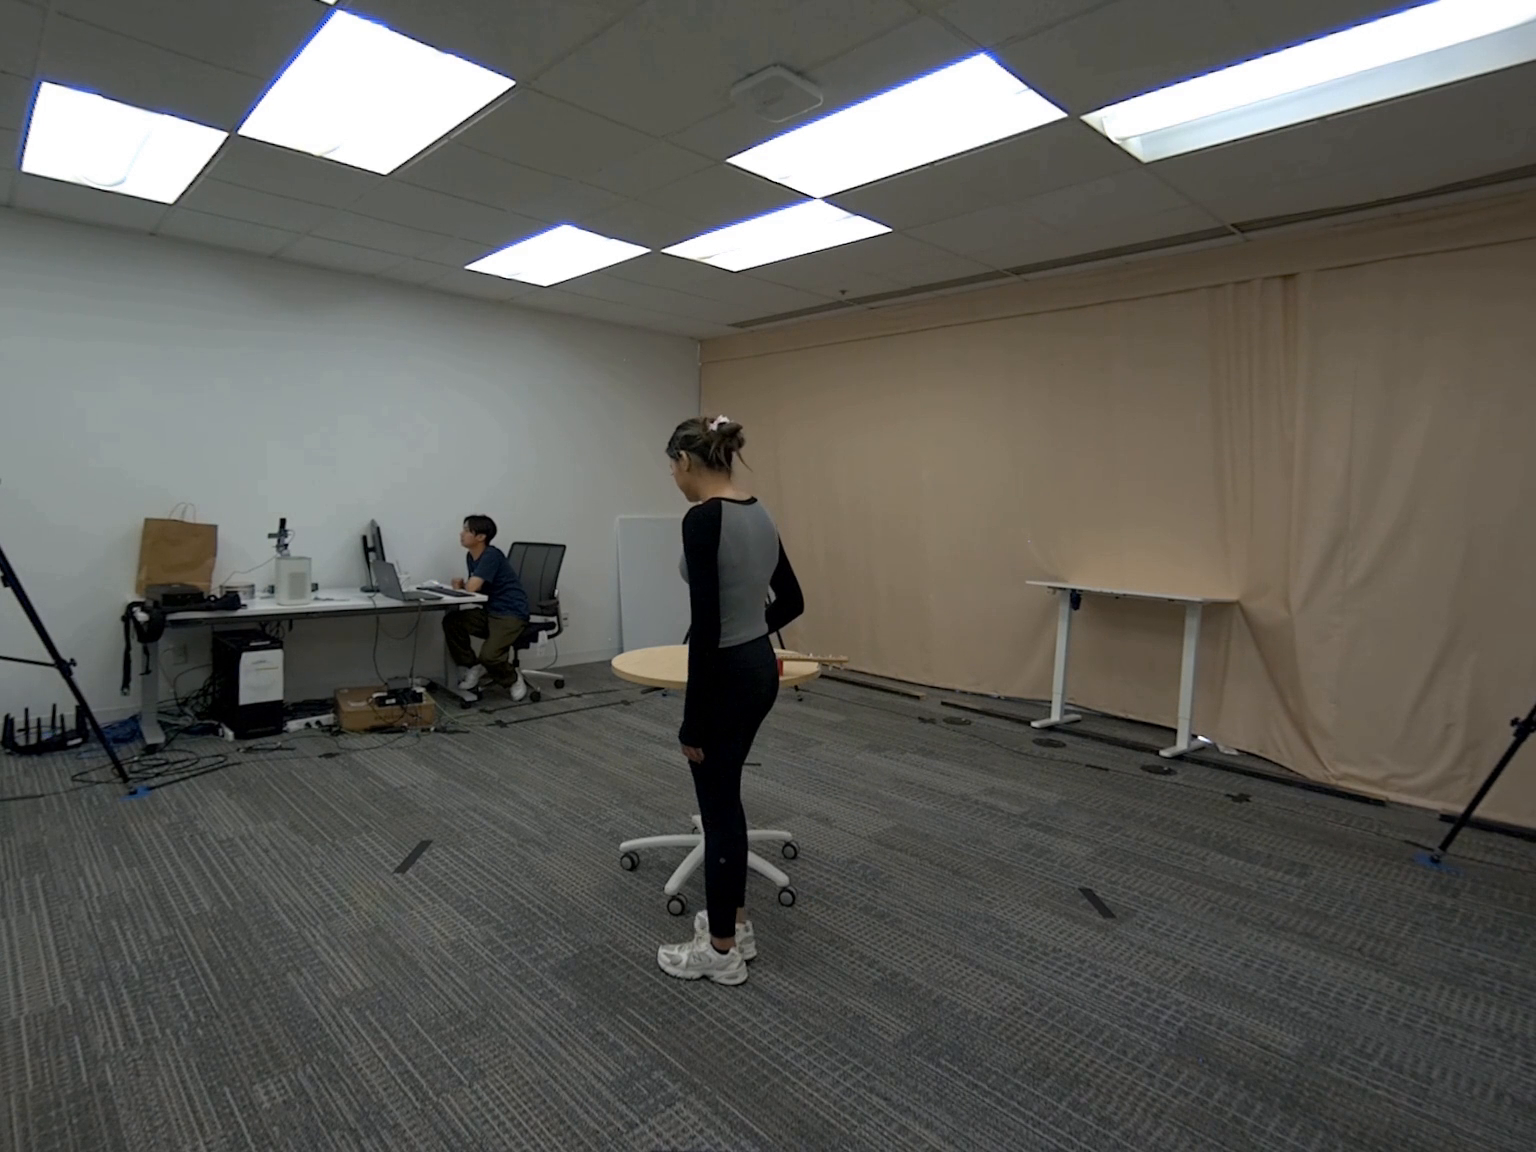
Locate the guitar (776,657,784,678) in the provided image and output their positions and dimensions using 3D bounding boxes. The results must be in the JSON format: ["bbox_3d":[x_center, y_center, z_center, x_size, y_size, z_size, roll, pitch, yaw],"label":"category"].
[{"bbox_3d":[0.016,0.307,2.847,0.504,0.070,0.191,1,4,15],"label":"guitar"}]
